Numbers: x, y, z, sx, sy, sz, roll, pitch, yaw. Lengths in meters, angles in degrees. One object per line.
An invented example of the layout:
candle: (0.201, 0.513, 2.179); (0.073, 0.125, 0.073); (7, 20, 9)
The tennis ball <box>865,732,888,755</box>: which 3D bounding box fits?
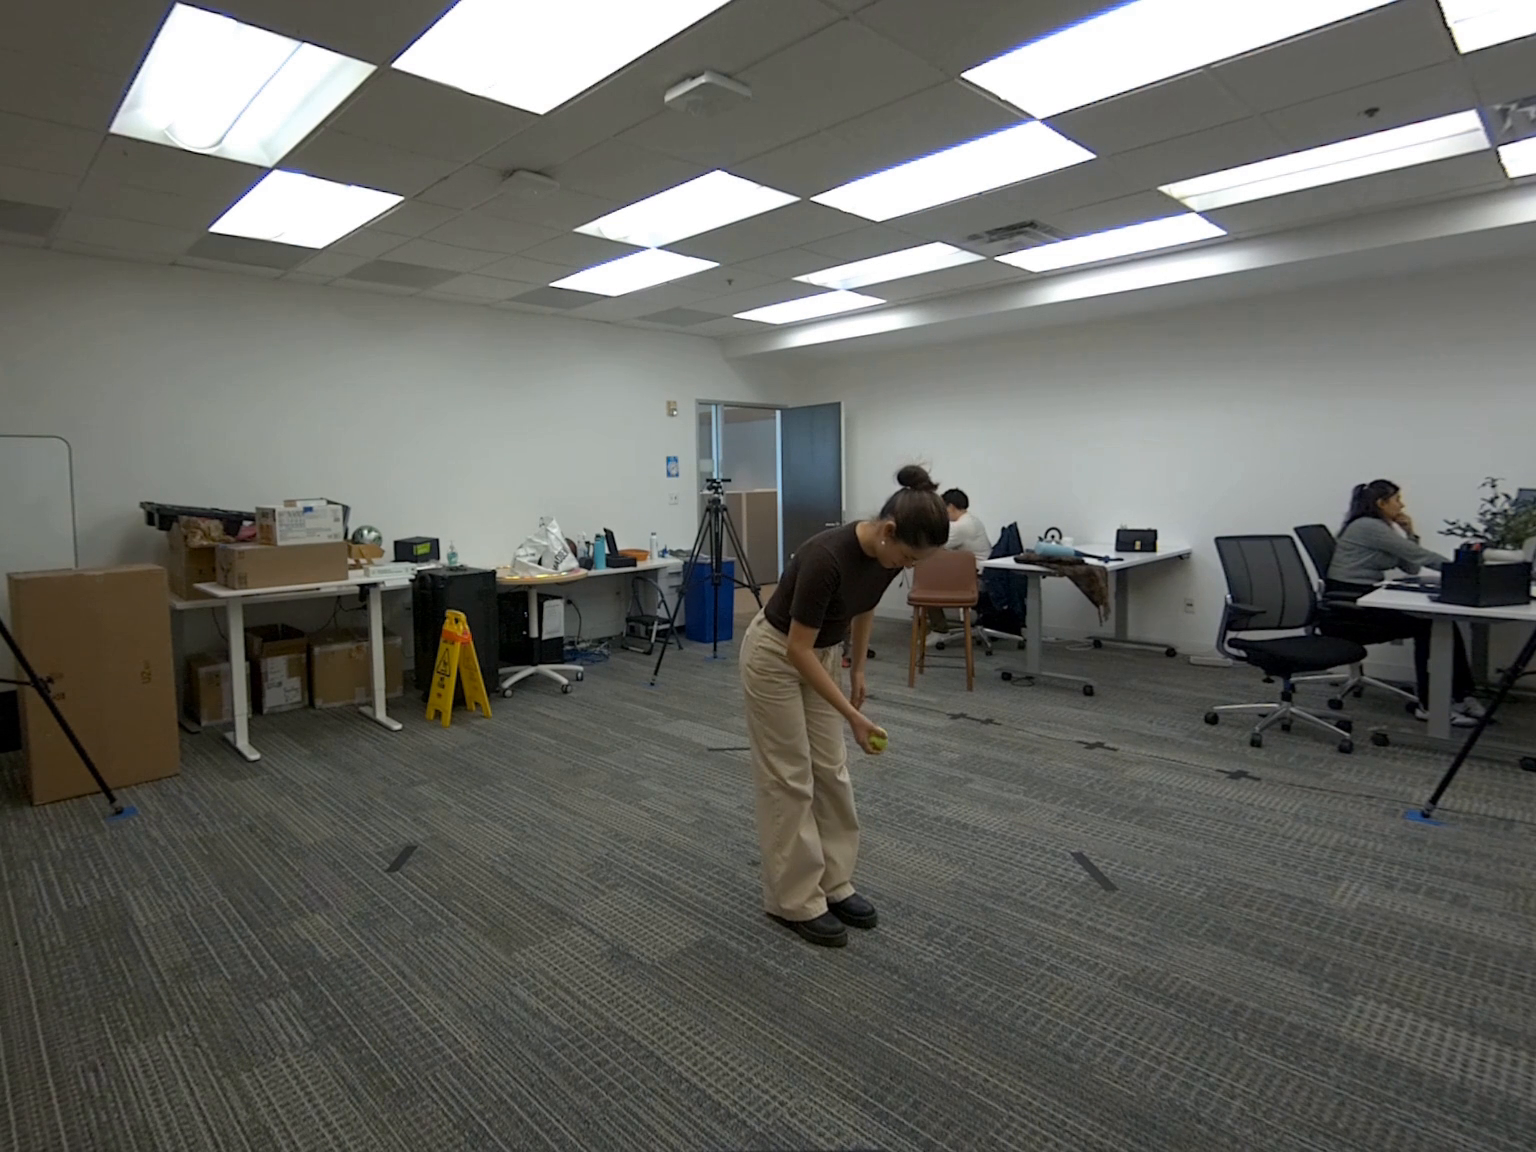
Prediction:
tennis ball: (0.283, 0.450, 2.440); (0.066, 0.066, 0.067); (-1, 5, -2)
